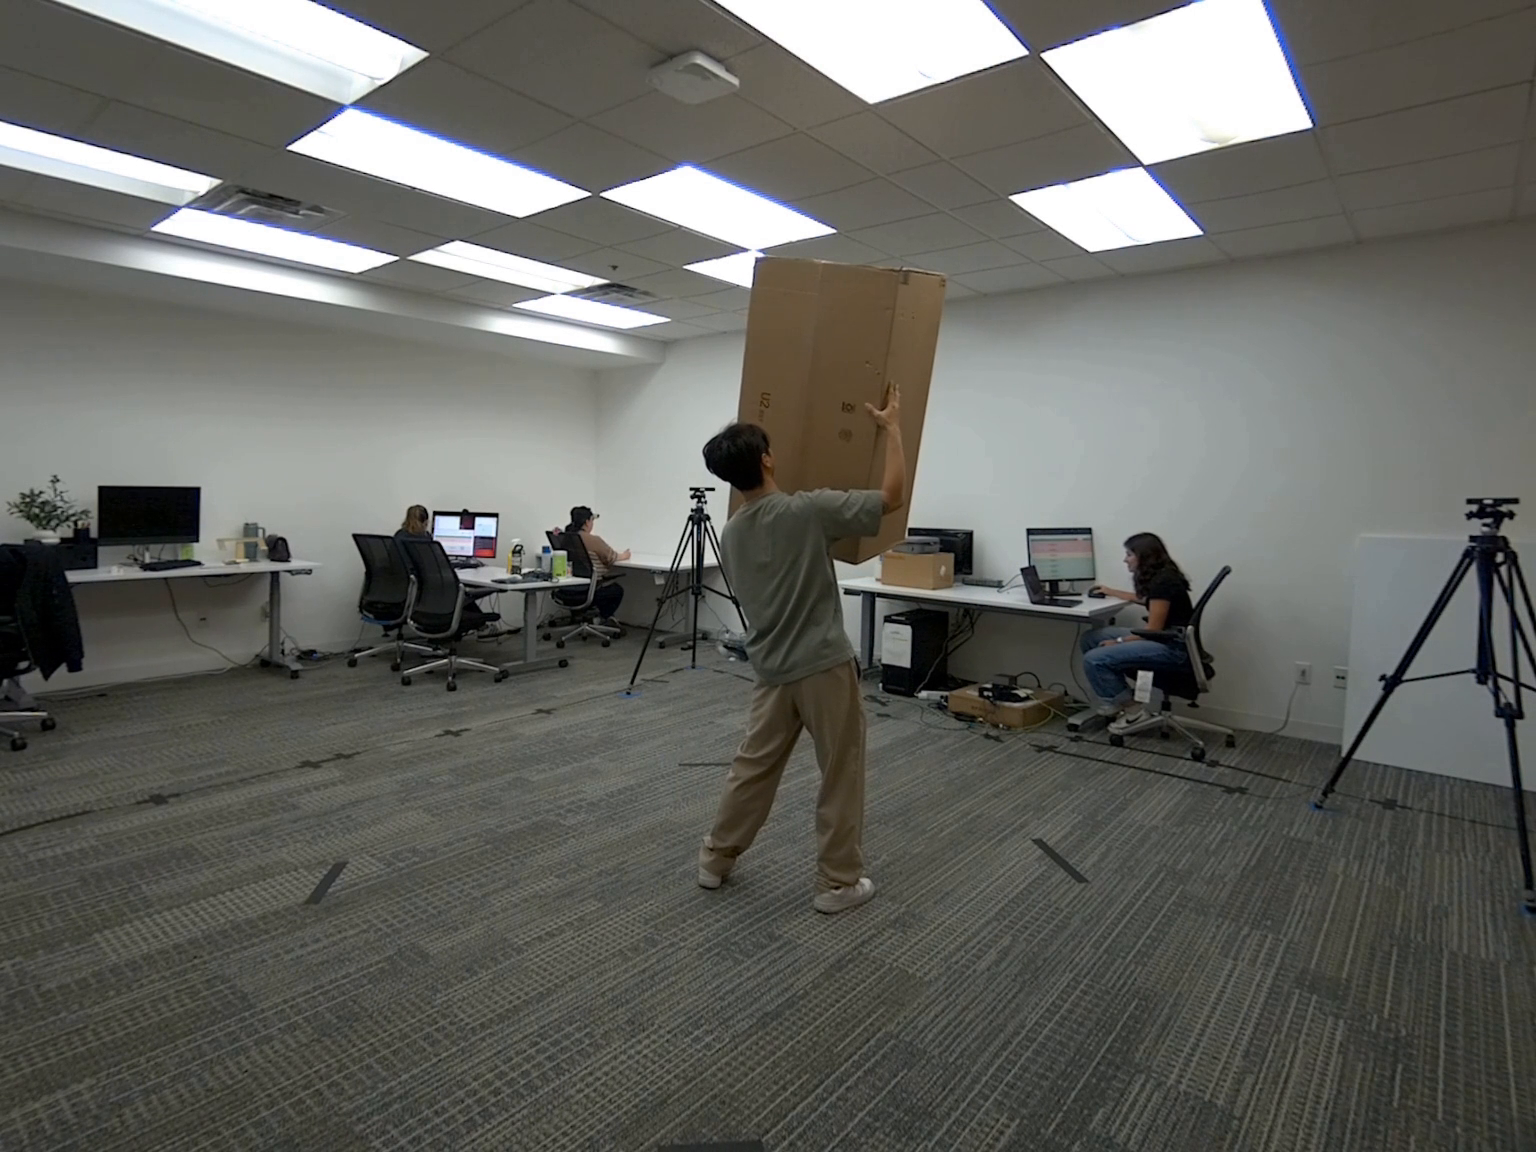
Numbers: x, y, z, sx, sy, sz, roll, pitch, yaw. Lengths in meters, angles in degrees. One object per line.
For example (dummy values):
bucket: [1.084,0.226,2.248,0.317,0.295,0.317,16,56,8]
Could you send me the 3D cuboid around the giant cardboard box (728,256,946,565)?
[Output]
giant cardboard box: [0.235,-0.635,3.204,0.598,1.011,0.417,18,20,31]
